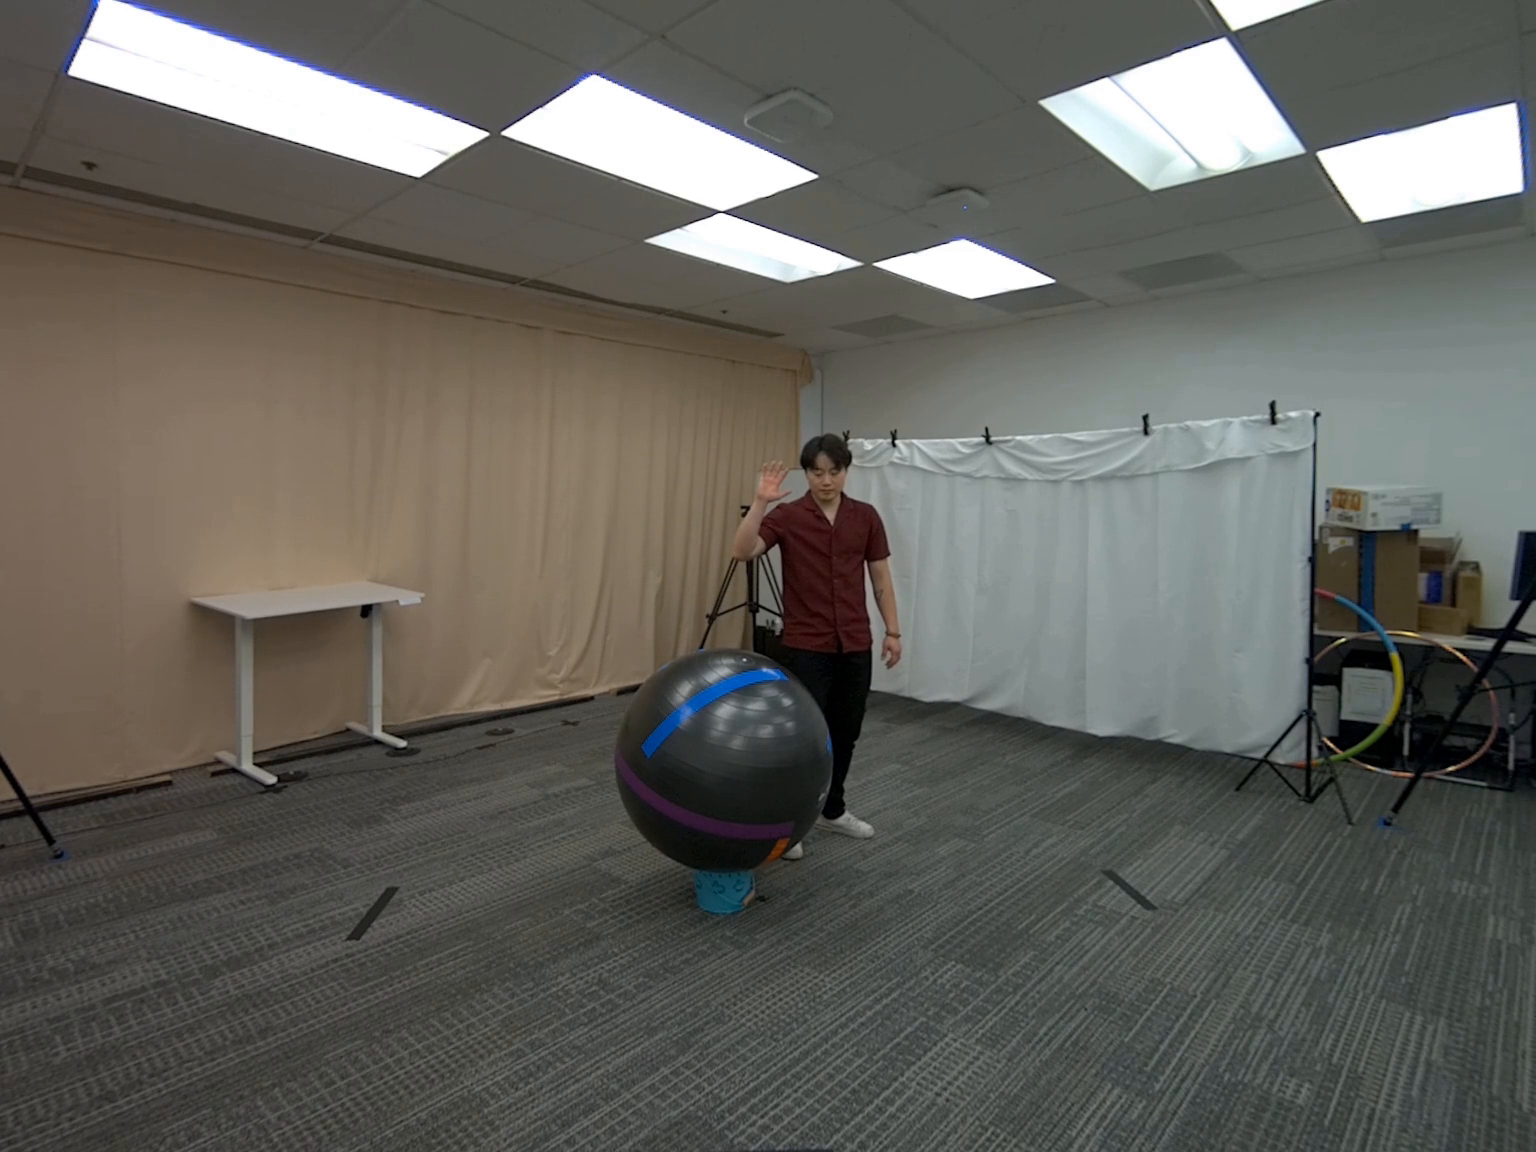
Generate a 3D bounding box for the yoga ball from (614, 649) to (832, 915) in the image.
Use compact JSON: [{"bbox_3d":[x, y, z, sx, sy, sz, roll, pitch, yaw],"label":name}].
[{"bbox_3d":[-0.158,0.645,2.929,0.757,0.756,0.760,0,4,-2],"label":"yoga ball"}]
